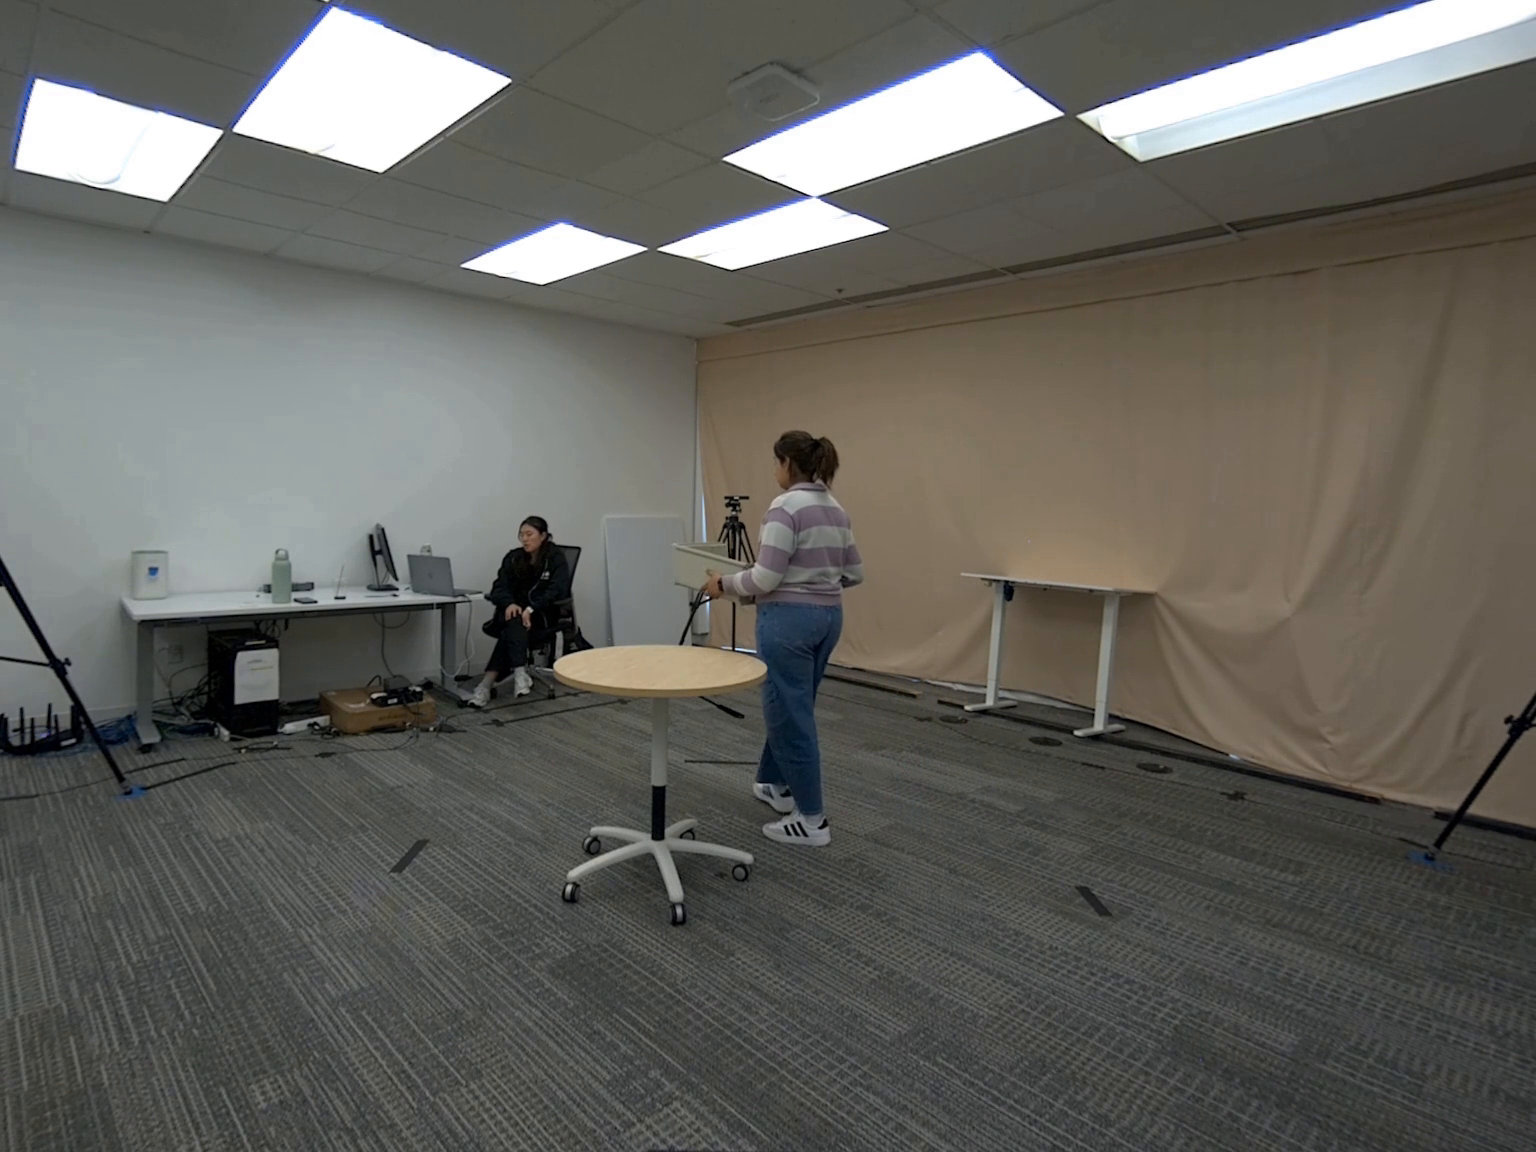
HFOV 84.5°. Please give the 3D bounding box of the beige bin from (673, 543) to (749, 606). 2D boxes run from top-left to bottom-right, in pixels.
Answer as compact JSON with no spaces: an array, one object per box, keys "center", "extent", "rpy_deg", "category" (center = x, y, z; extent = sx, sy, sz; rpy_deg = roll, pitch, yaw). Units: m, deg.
[{"center":[-0.162,-0.018,3.697],"extent":[0.434,0.188,0.369],"rpy_deg":[15,13,38],"category":"beige bin"}]
